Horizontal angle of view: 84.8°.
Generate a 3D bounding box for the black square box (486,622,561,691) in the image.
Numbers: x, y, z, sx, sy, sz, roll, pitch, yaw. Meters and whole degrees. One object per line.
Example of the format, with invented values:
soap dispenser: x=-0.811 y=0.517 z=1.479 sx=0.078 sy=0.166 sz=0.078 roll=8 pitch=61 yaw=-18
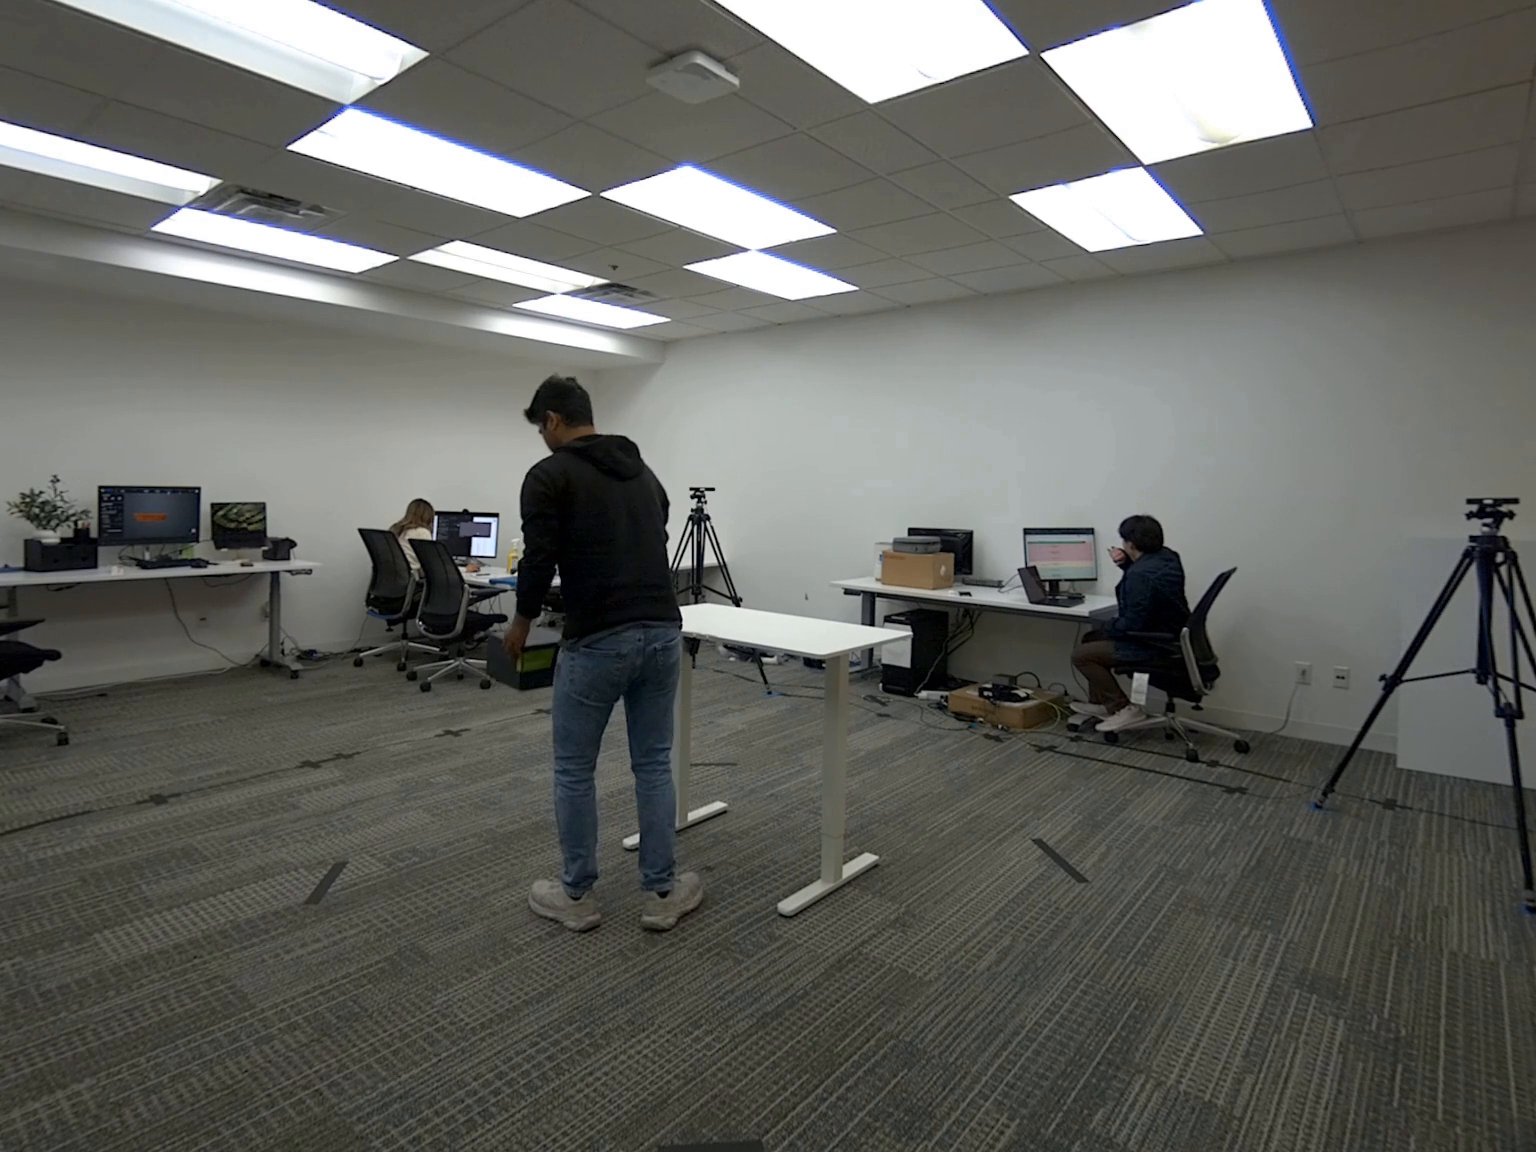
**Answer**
black square box: x=-0.836 y=0.297 z=2.985 sx=0.225 sy=0.155 sz=0.221 roll=11 pitch=10 yaw=39
